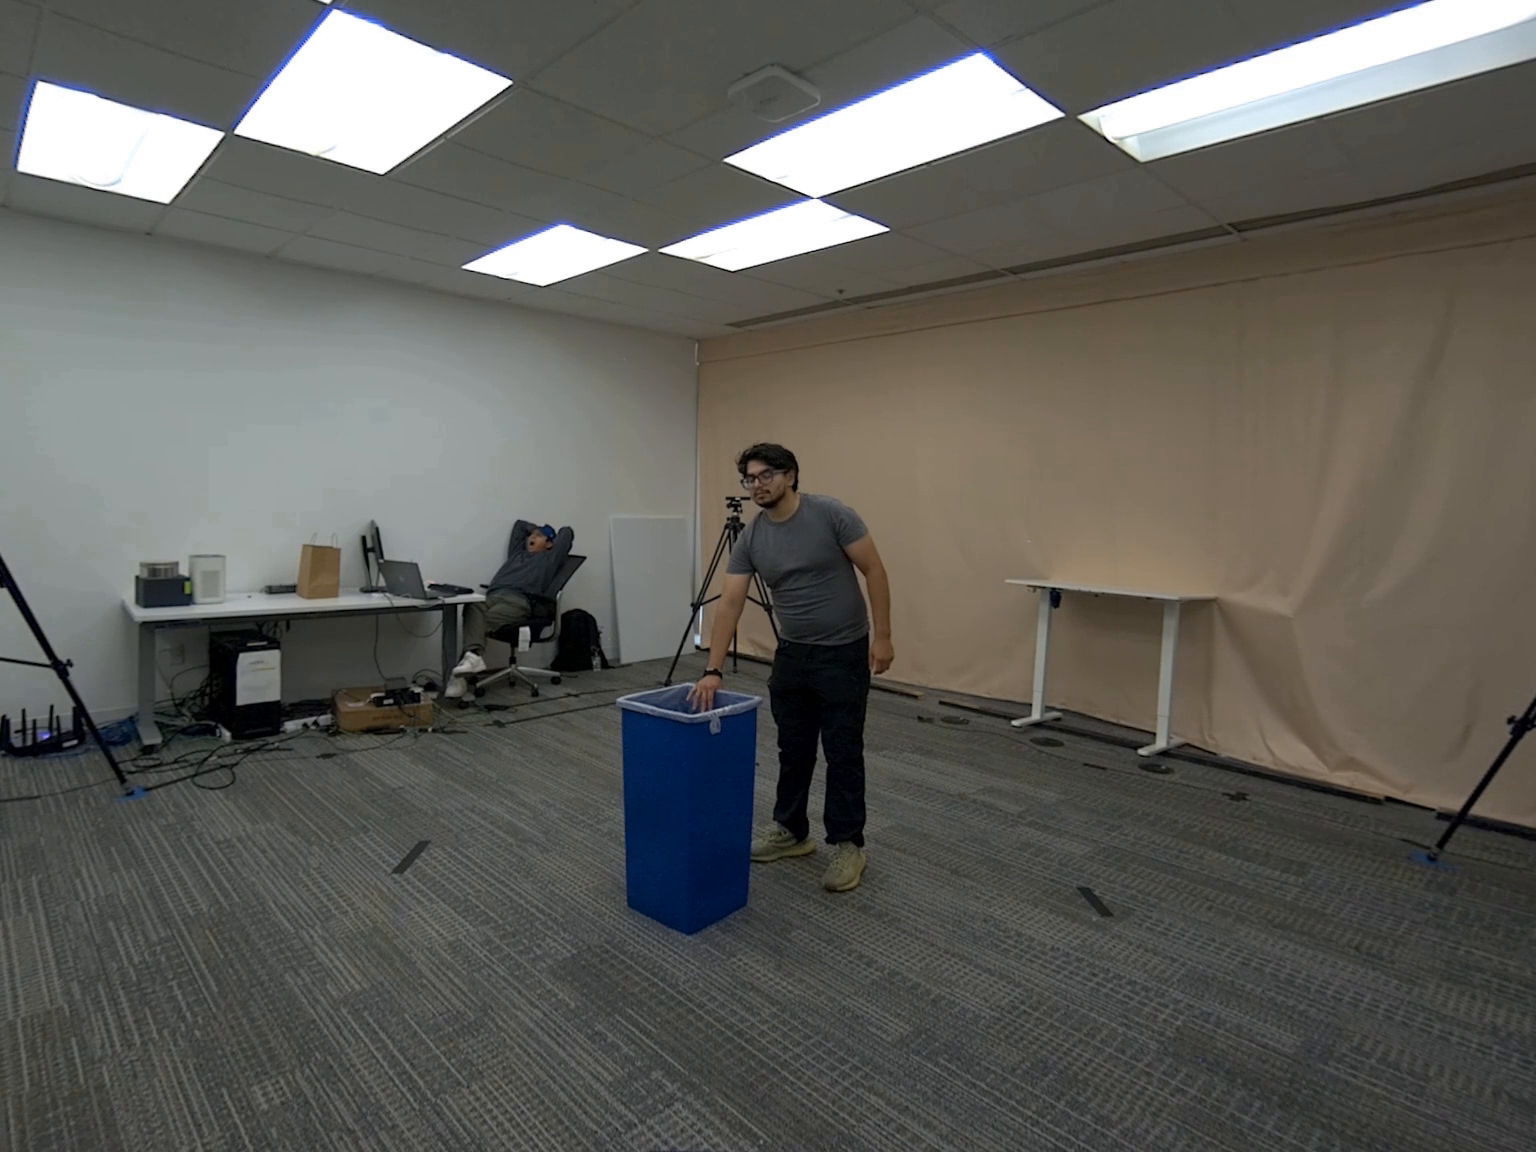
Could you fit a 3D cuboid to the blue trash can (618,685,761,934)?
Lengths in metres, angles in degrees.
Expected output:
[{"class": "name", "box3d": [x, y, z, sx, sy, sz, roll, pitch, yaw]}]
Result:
[{"class": "blue trash can", "box3d": [-0.284, 0.767, 2.861, 0.383, 0.712, 0.369, 4, 4, 40]}]
